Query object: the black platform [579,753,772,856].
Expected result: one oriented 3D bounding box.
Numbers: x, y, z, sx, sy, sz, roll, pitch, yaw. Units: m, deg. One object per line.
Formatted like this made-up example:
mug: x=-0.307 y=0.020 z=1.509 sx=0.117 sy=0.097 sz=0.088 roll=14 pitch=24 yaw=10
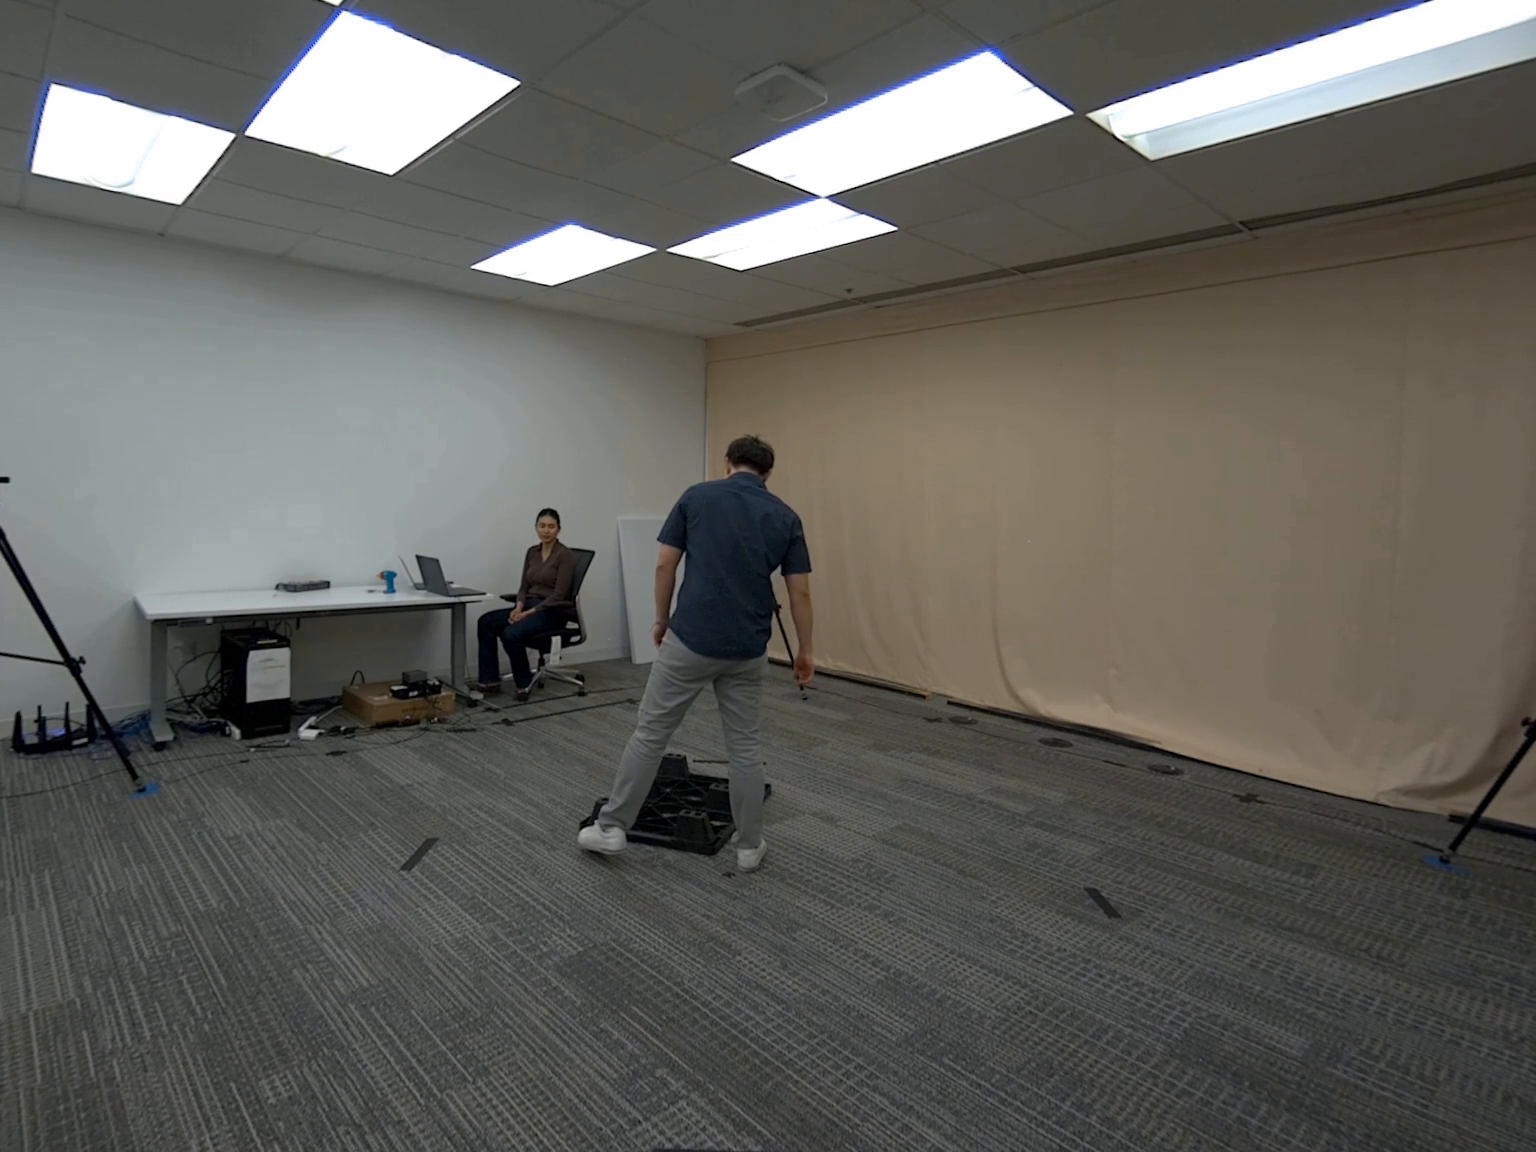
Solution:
black platform: x=-0.391 y=0.978 z=3.734 sx=0.614 sy=0.143 sz=0.796 roll=3 pitch=5 yaw=17
